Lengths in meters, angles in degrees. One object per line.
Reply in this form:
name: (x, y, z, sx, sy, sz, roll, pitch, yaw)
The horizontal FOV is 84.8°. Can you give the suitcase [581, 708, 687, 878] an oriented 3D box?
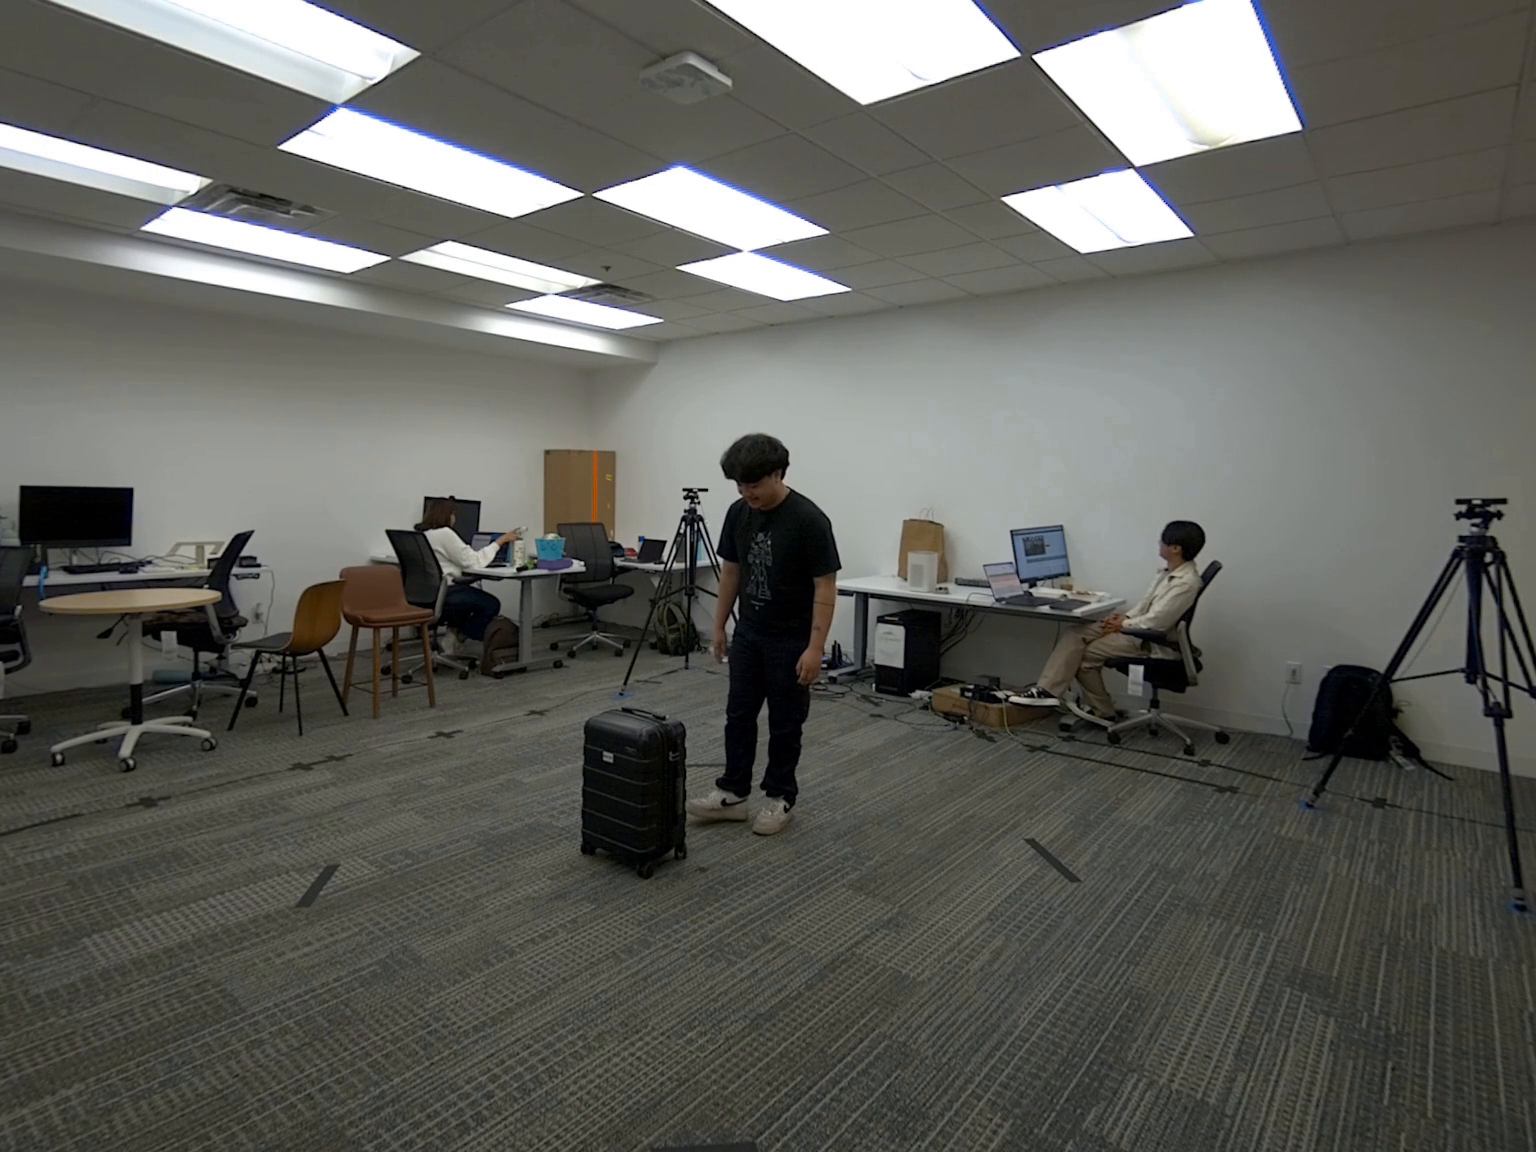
suitcase: (-0.510, 0.782, 3.185, 0.388, 0.547, 0.241, 5, 6, 37)
